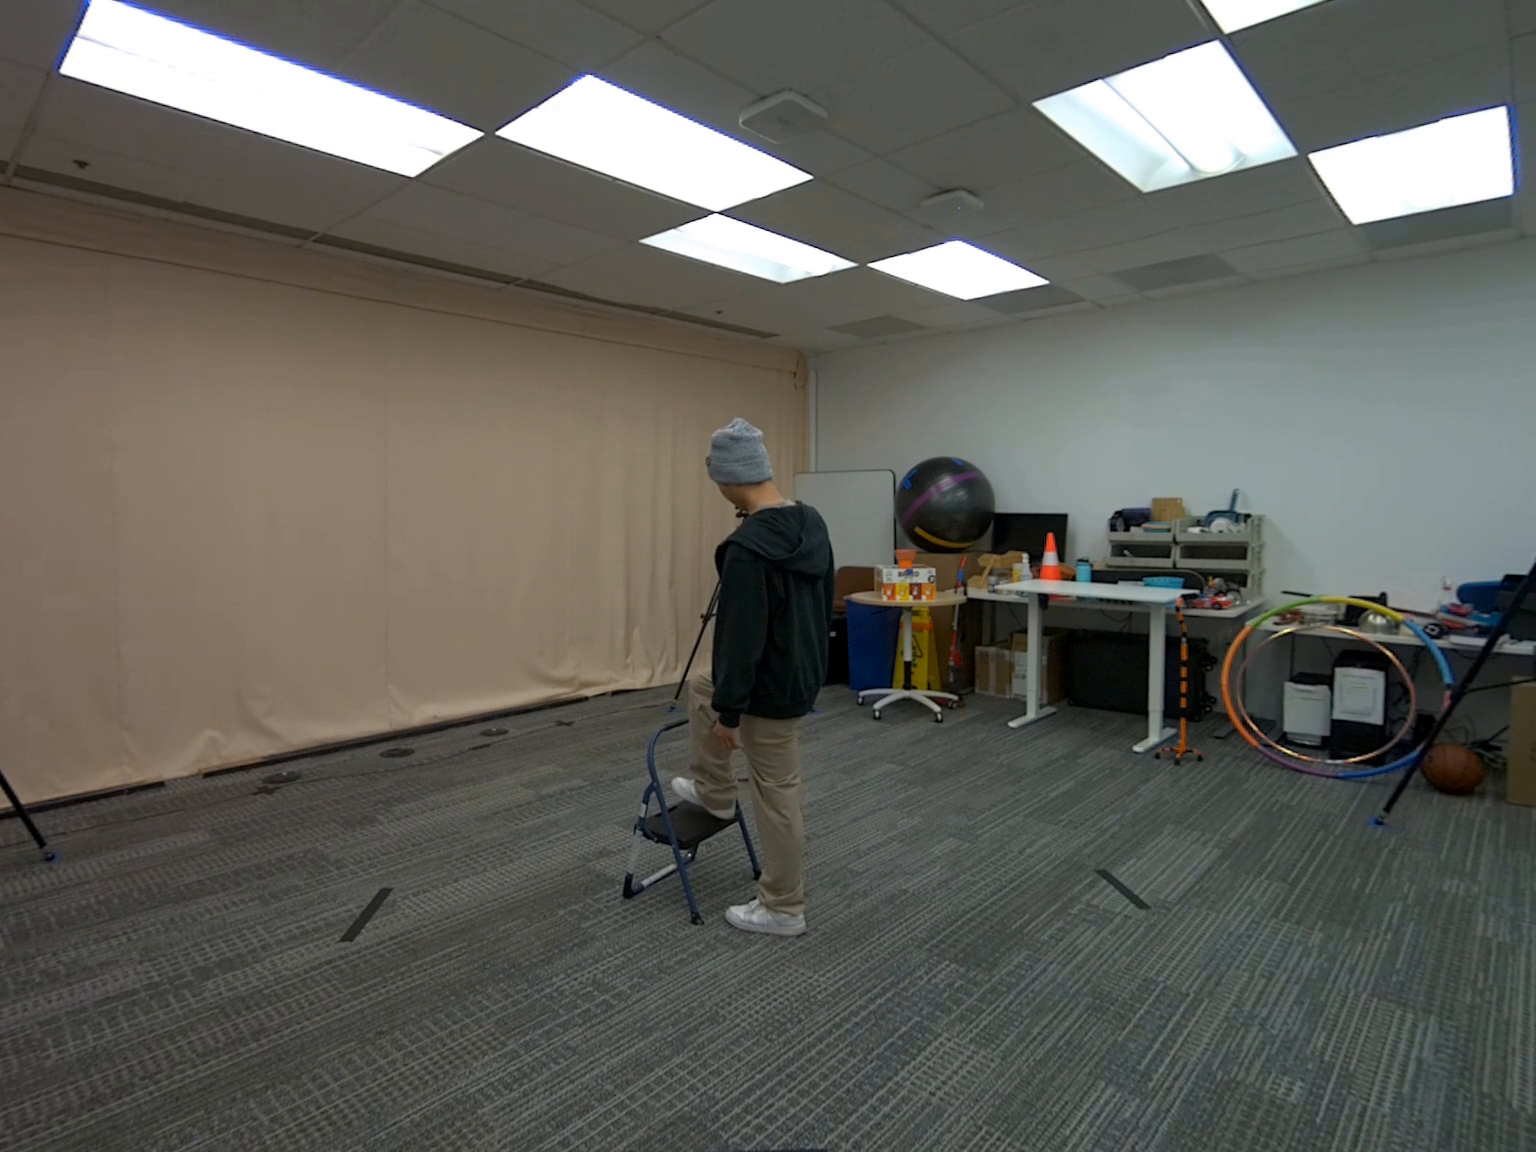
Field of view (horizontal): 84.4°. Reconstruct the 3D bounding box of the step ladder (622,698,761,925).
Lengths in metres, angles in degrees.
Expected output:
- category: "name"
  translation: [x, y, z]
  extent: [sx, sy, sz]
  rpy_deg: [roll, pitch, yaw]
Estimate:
- category: "step ladder"
  translation: [-0.269, 0.836, 3.053]
  extent: [0.360, 0.605, 0.419]
  rpy_deg: [1, 3, 32]
